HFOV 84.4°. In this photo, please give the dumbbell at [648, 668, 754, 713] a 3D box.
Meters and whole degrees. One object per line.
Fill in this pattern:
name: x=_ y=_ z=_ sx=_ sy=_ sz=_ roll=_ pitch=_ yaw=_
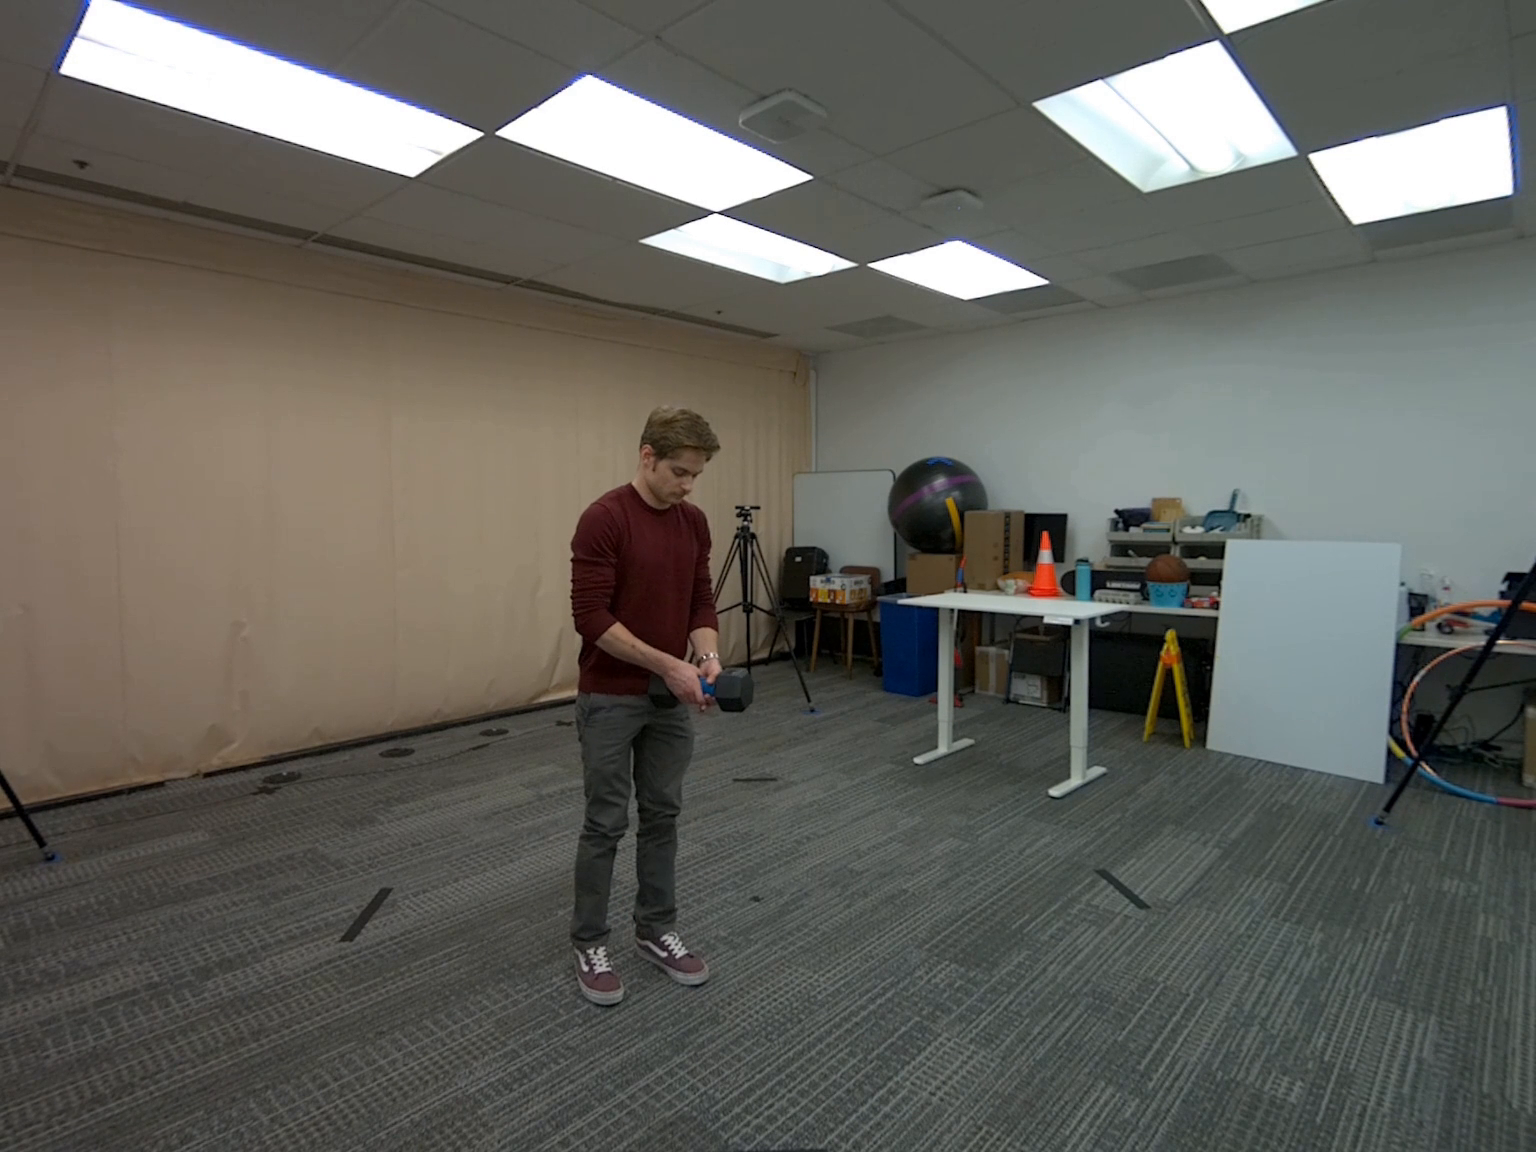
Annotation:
dumbbell: x=-0.191 y=0.317 z=2.341 sx=0.301 sy=0.119 sz=0.109 roll=-3 pitch=43 yaw=27
